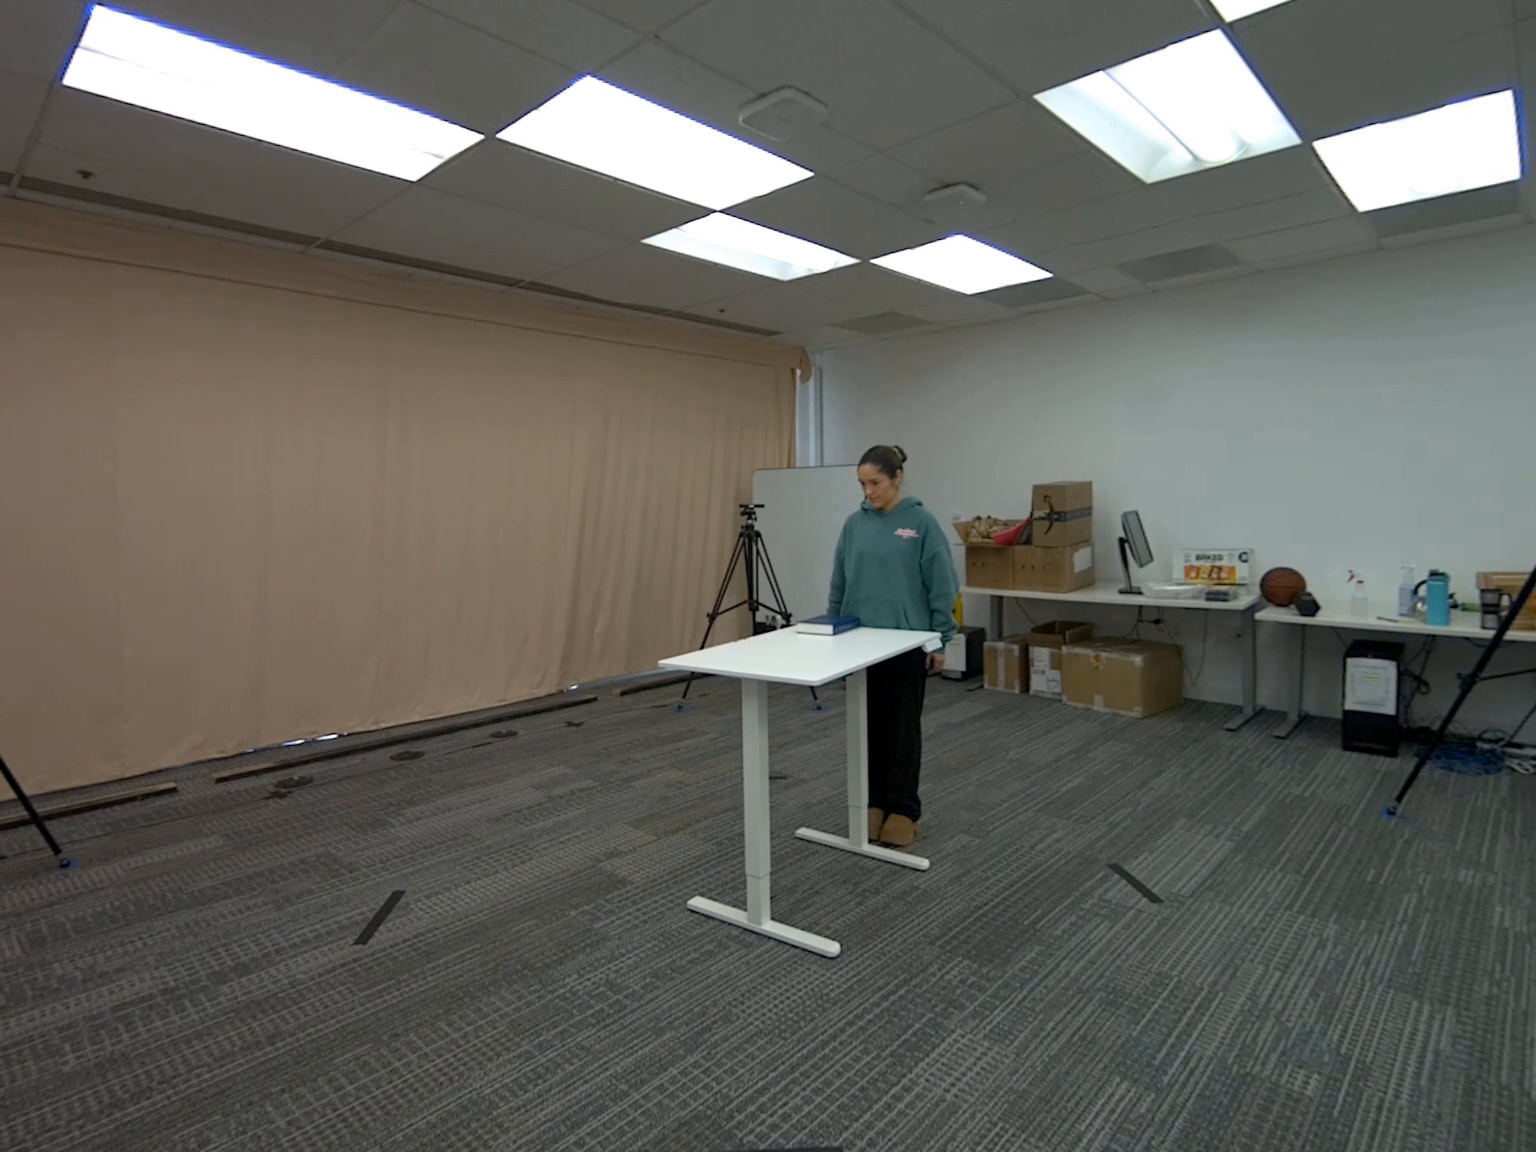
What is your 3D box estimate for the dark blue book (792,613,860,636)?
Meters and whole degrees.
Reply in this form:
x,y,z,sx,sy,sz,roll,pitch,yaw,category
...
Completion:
x,y,z,sx,sy,sz,roll,pitch,yaw,category
0.248,0.199,3.380,0.168,0.045,0.239,2,6,30,dark blue book
